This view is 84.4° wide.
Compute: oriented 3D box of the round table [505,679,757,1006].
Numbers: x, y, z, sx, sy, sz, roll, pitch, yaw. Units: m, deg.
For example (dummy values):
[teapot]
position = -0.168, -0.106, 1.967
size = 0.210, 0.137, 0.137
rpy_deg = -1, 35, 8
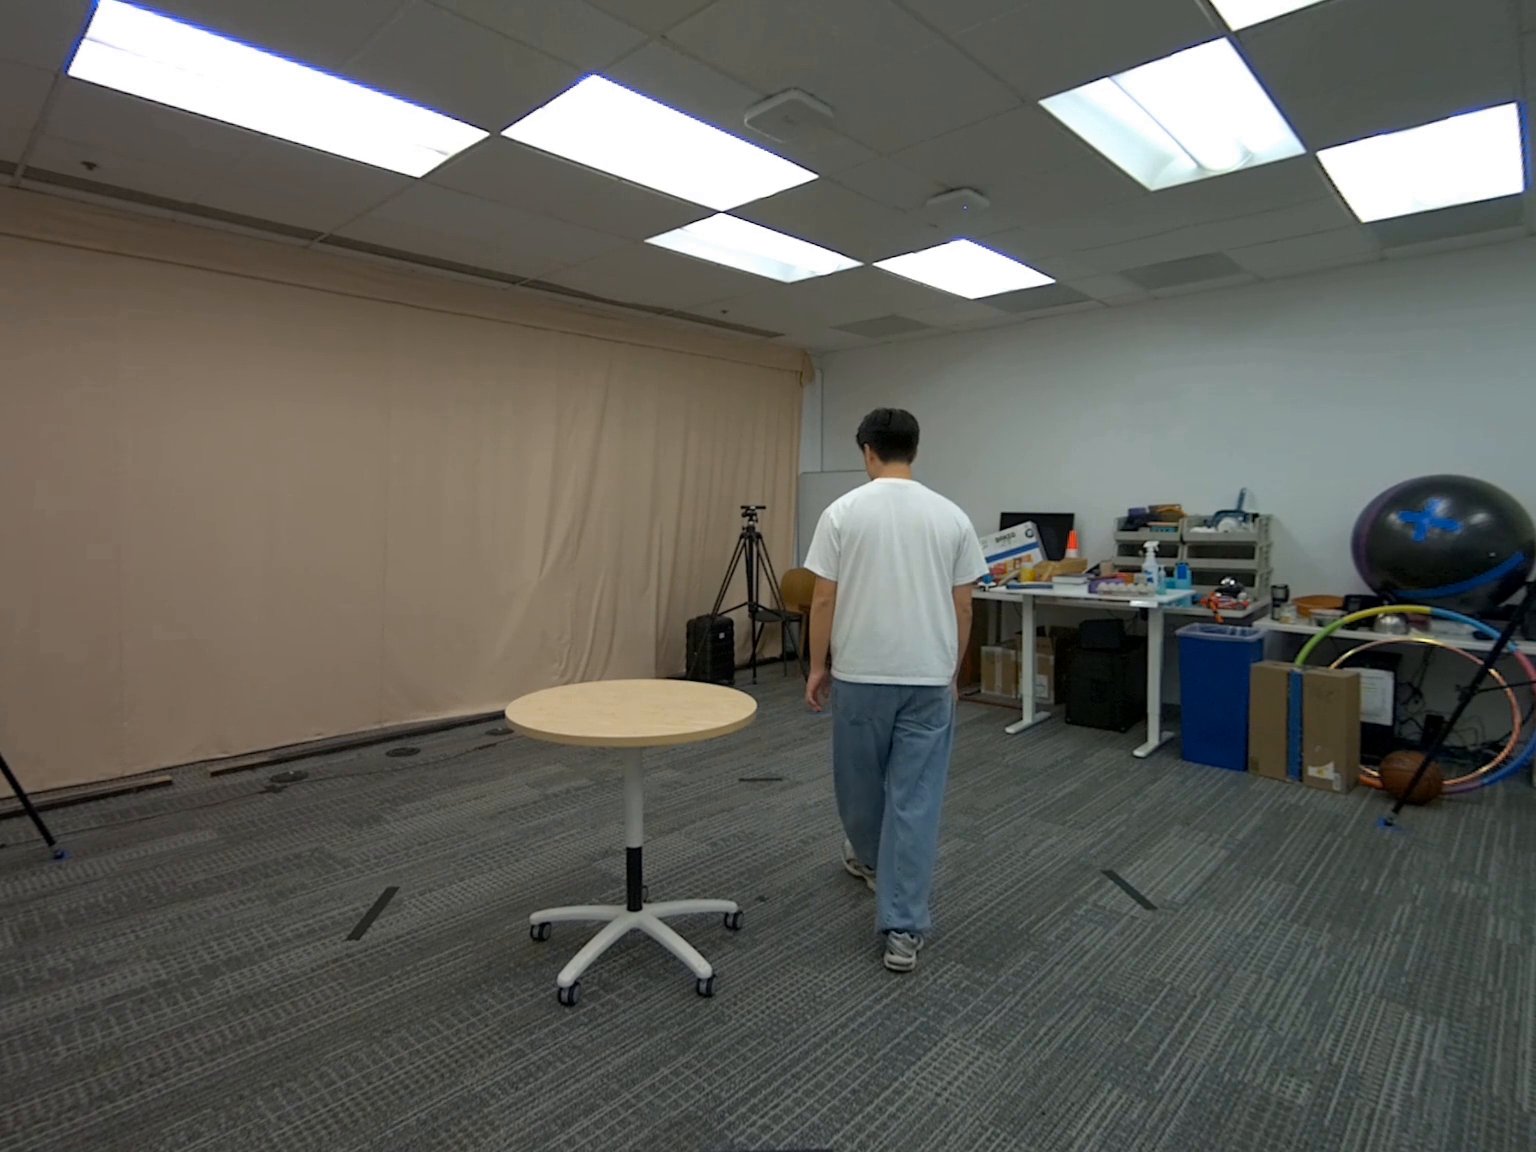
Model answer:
[round table]
position = -0.406, 0.792, 2.611
size = 0.763, 0.792, 0.766
rpy_deg = 0, 4, -2
